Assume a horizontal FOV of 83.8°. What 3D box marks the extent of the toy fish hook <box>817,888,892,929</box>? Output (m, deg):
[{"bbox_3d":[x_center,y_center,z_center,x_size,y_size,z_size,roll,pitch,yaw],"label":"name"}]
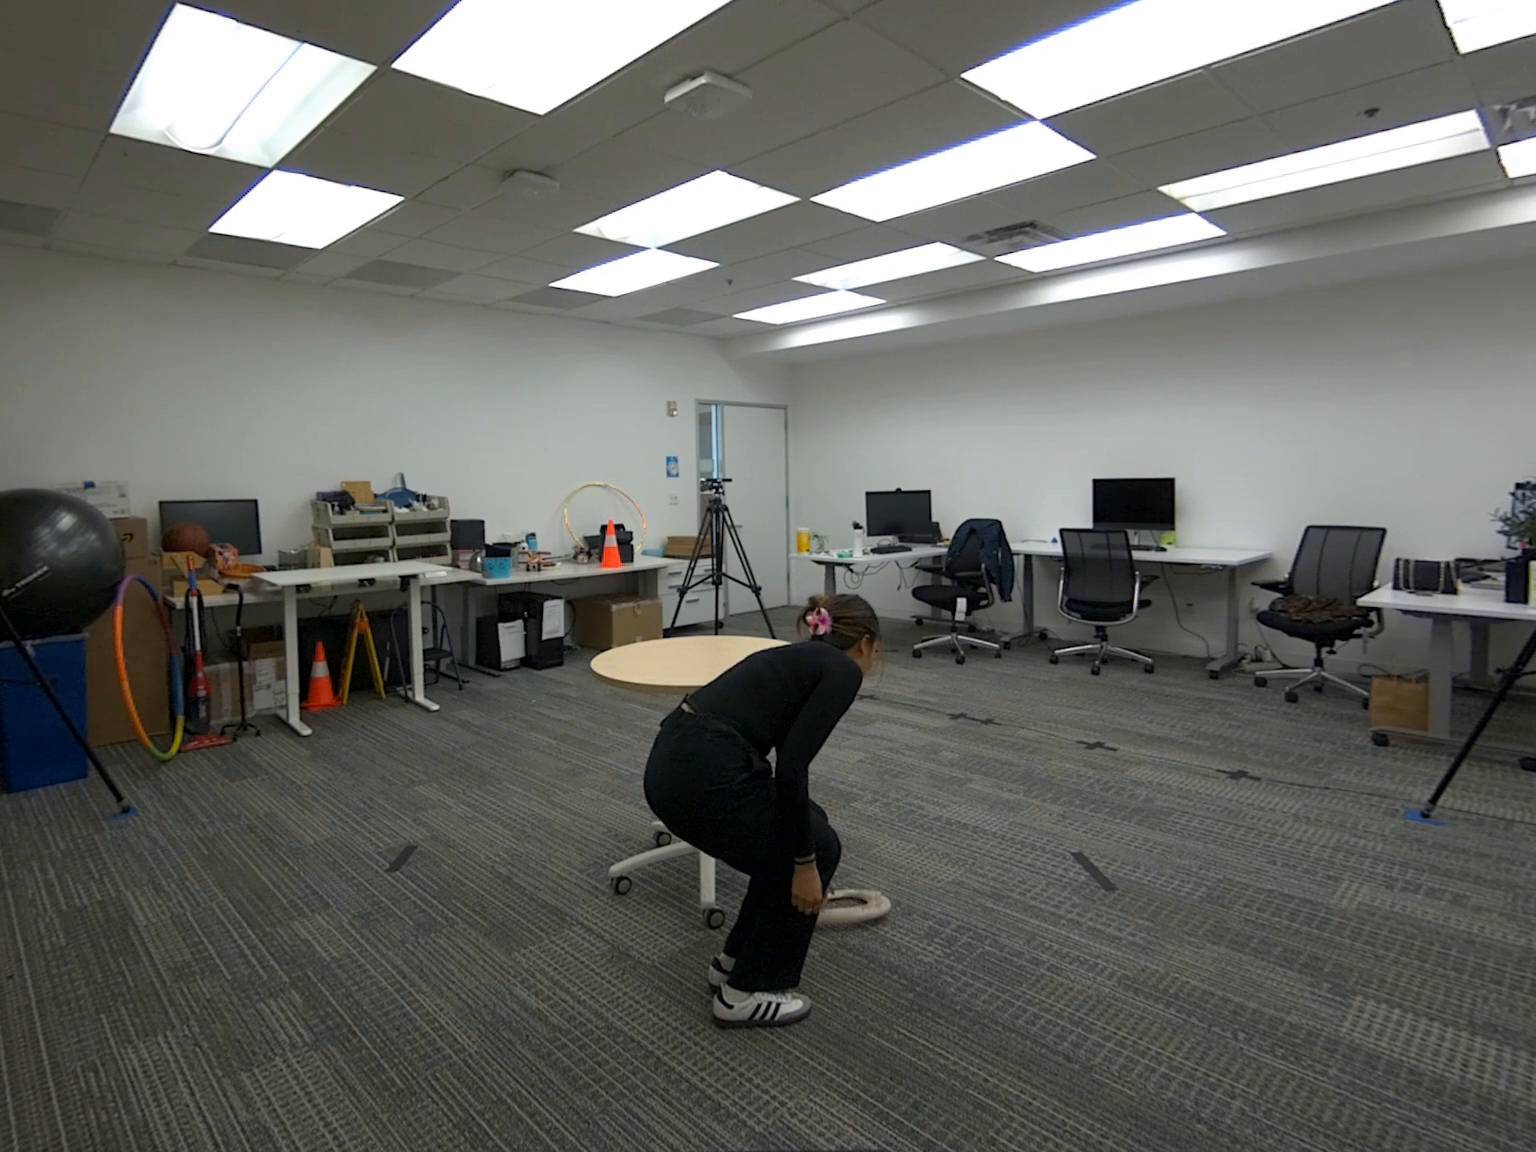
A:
[{"bbox_3d":[0.145,1.058,2.708,0.500,0.049,0.226,-4,-6,-15],"label":"toy fish hook"}]
